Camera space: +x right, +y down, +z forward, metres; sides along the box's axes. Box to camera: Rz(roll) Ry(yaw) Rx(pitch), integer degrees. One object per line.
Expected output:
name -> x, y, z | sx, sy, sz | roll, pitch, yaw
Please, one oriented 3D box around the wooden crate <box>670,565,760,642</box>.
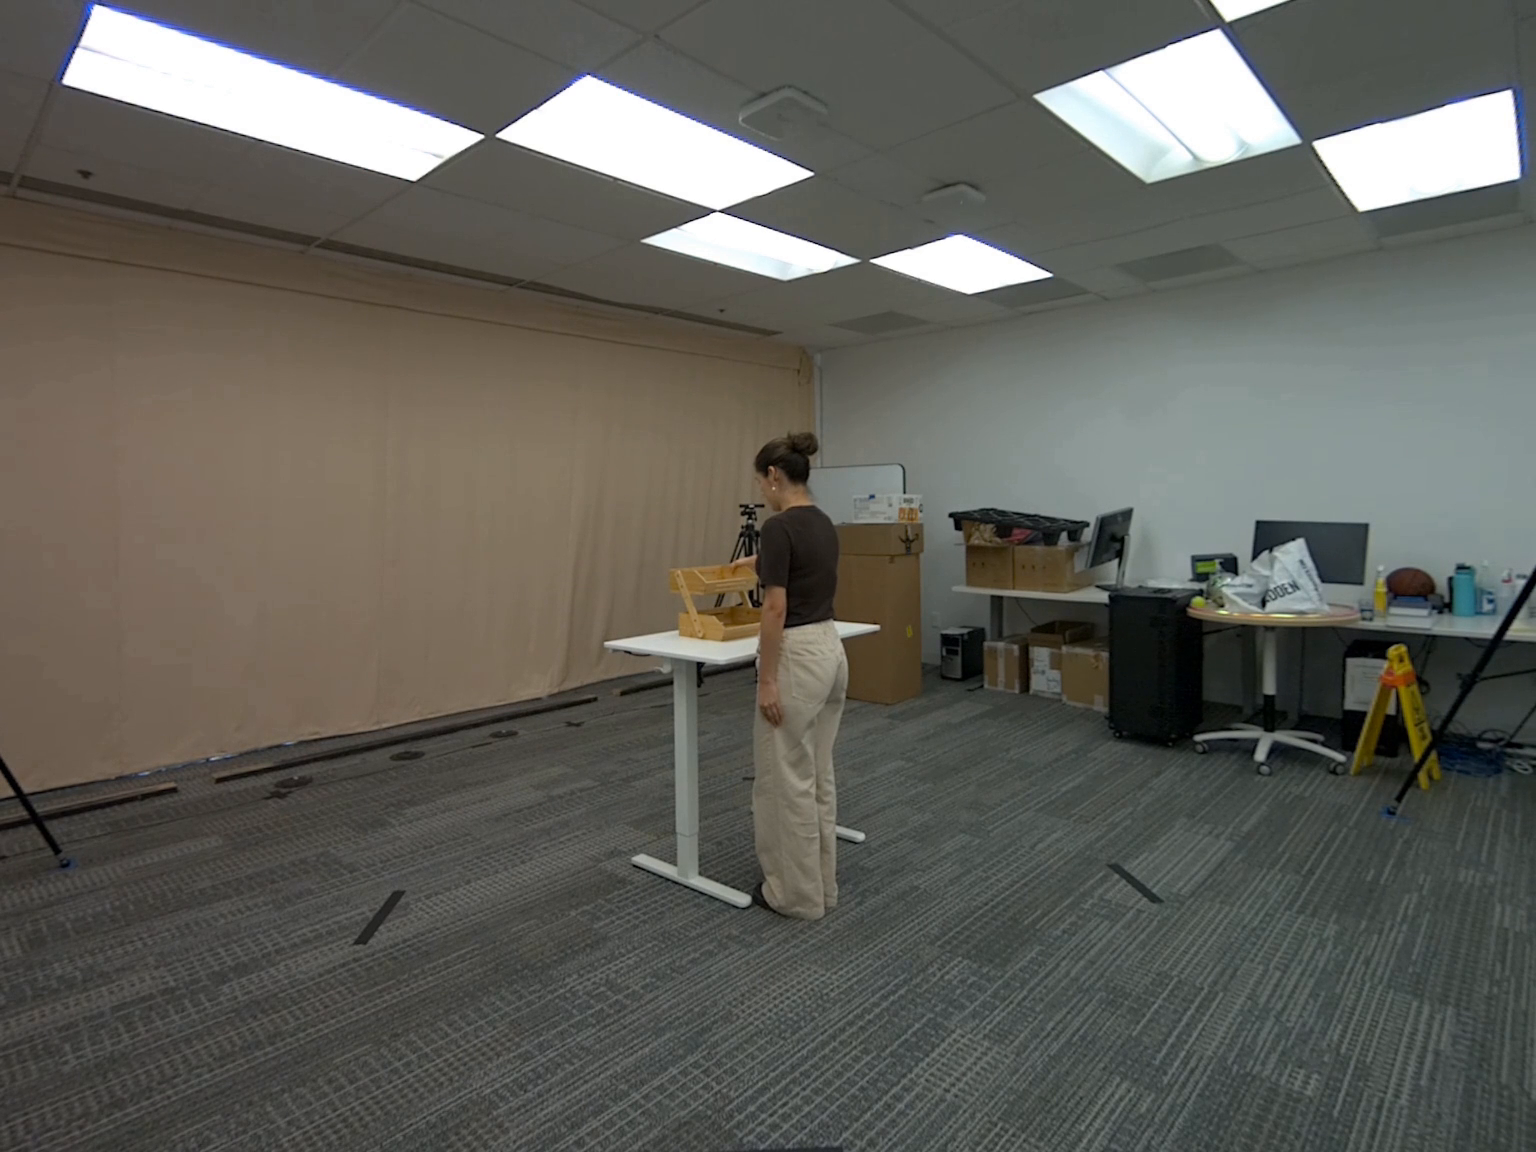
wooden crate -> -0.177, 0.100, 3.339 | 0.312, 0.273, 0.314 | 1, 3, 43
